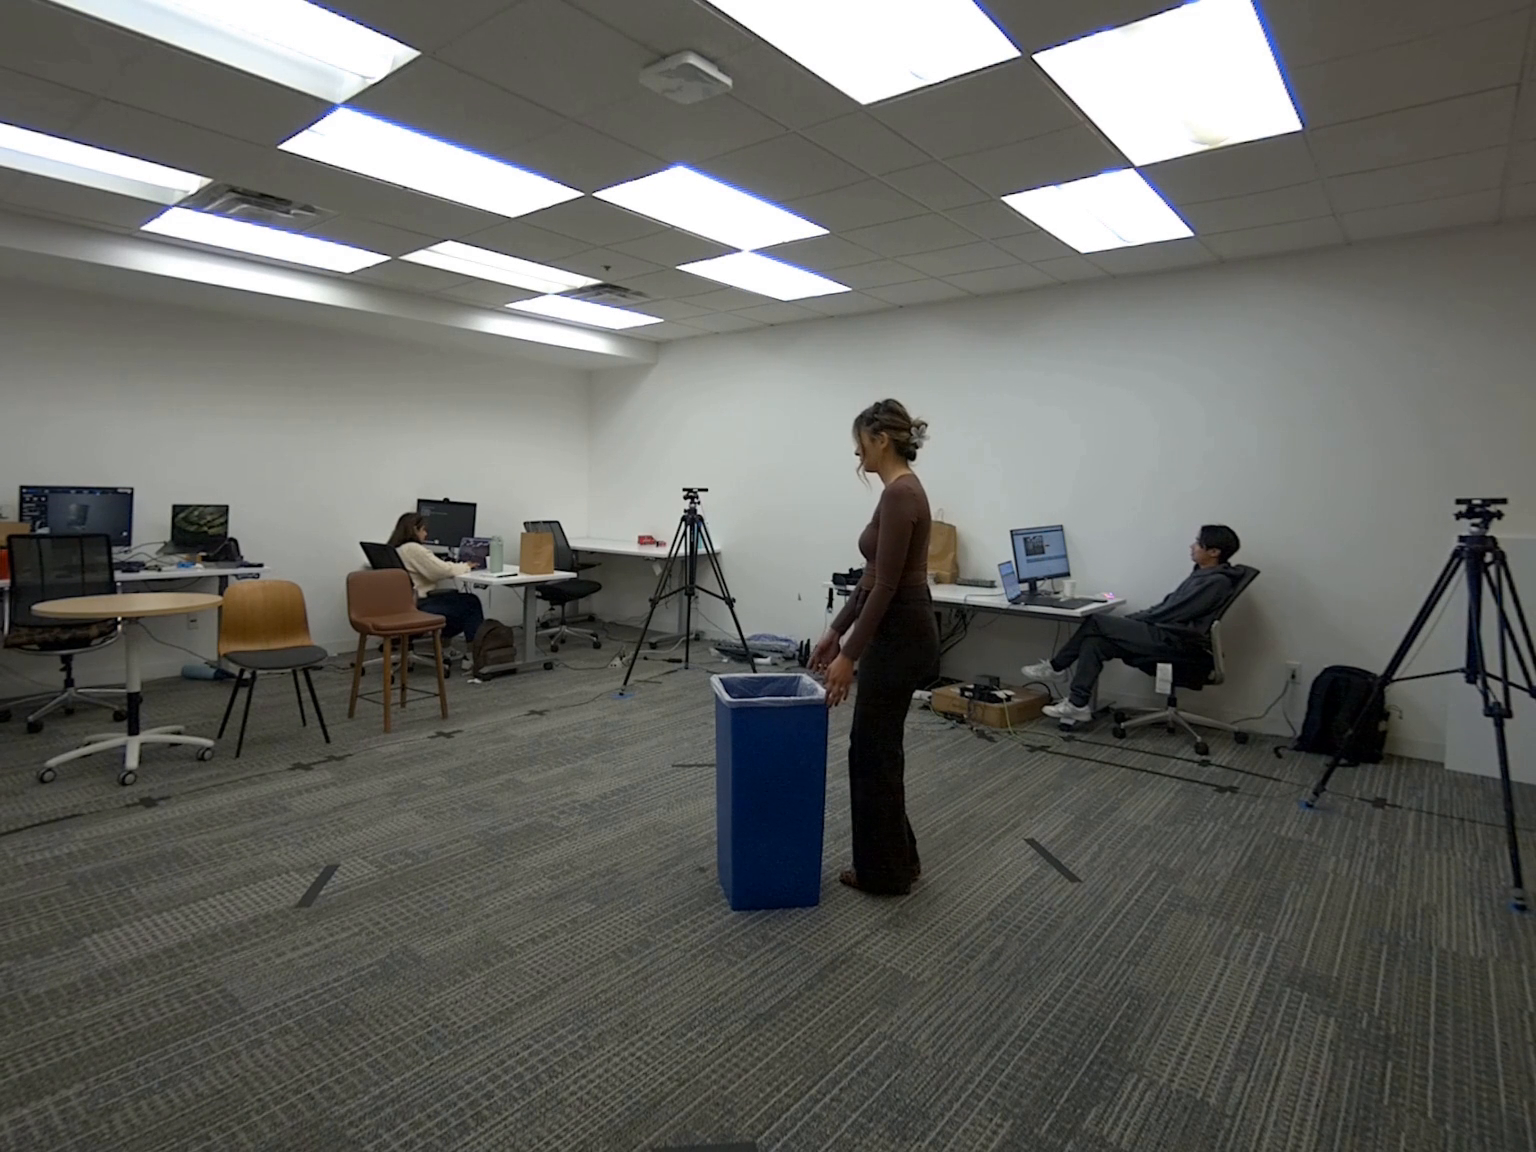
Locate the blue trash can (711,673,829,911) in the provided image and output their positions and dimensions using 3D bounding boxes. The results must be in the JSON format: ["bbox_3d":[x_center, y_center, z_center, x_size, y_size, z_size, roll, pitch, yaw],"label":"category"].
[{"bbox_3d":[-0.012,0.731,2.961,0.373,0.711,0.380,1,4,-12],"label":"blue trash can"}]
